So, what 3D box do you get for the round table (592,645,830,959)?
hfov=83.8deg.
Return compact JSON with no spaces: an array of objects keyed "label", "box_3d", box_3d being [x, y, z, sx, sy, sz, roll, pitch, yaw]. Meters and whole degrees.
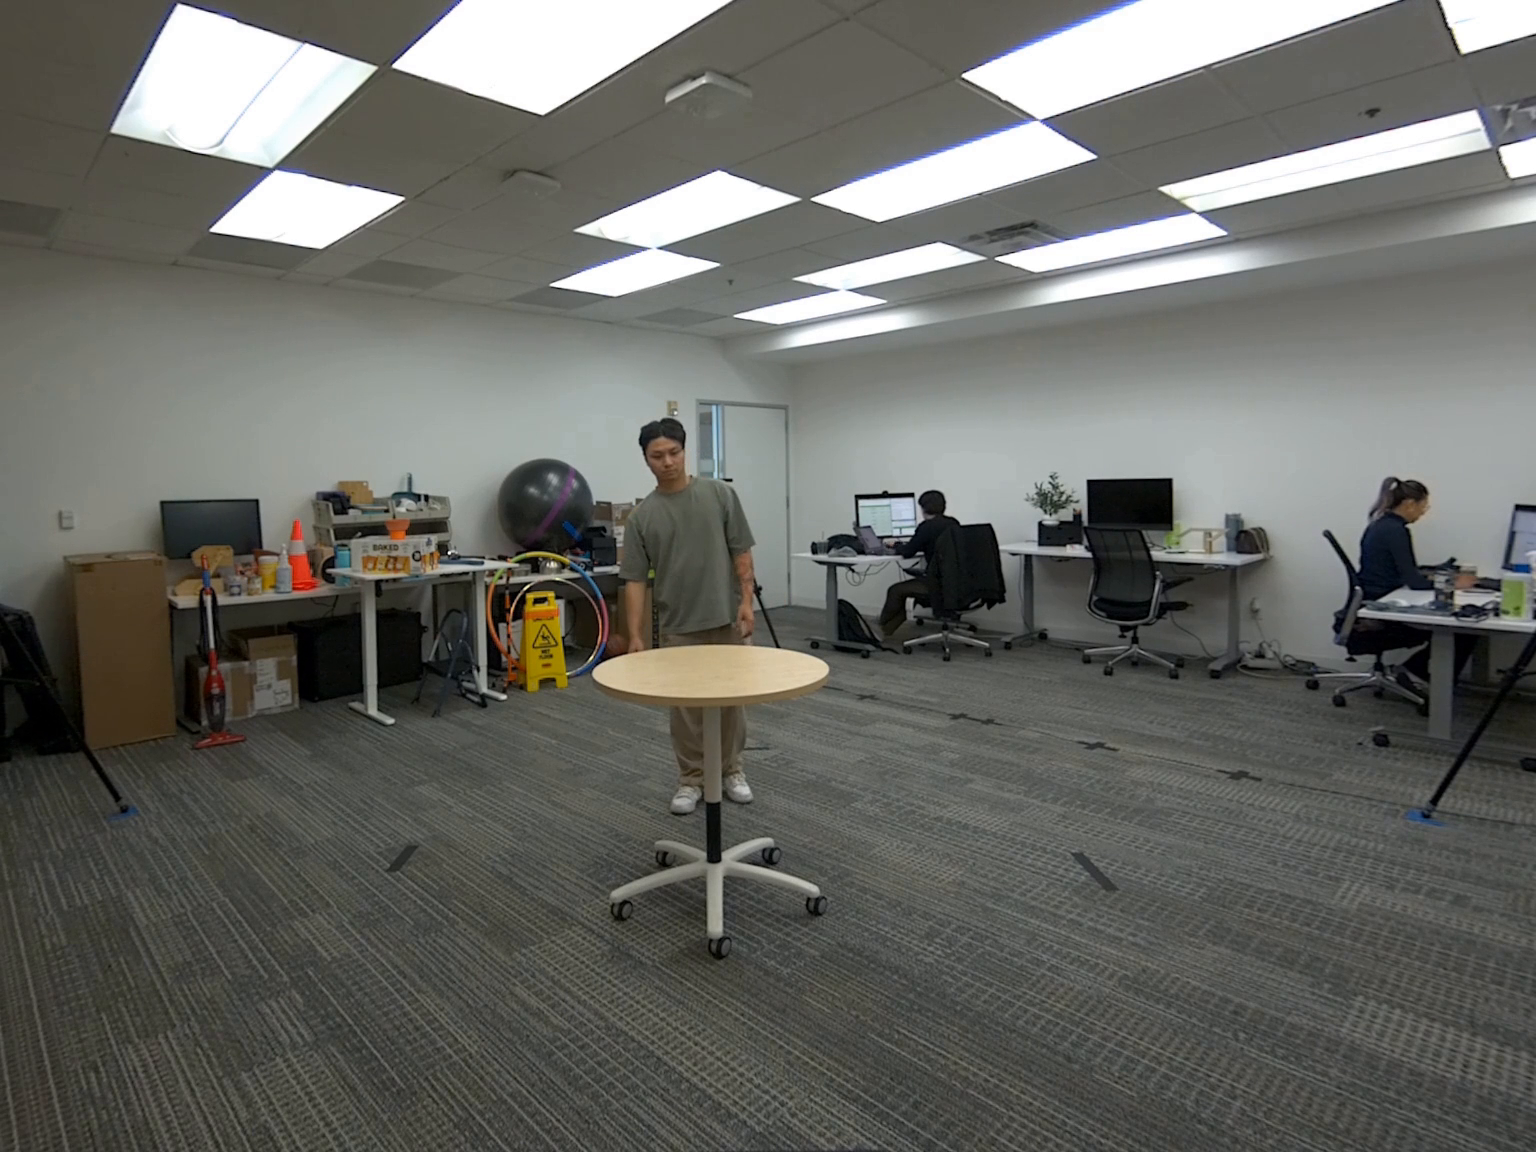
[{"label":"round table","box_3d":[-0.161,0.690,2.798,0.784,0.783,0.789,-1,5,-2]}]
